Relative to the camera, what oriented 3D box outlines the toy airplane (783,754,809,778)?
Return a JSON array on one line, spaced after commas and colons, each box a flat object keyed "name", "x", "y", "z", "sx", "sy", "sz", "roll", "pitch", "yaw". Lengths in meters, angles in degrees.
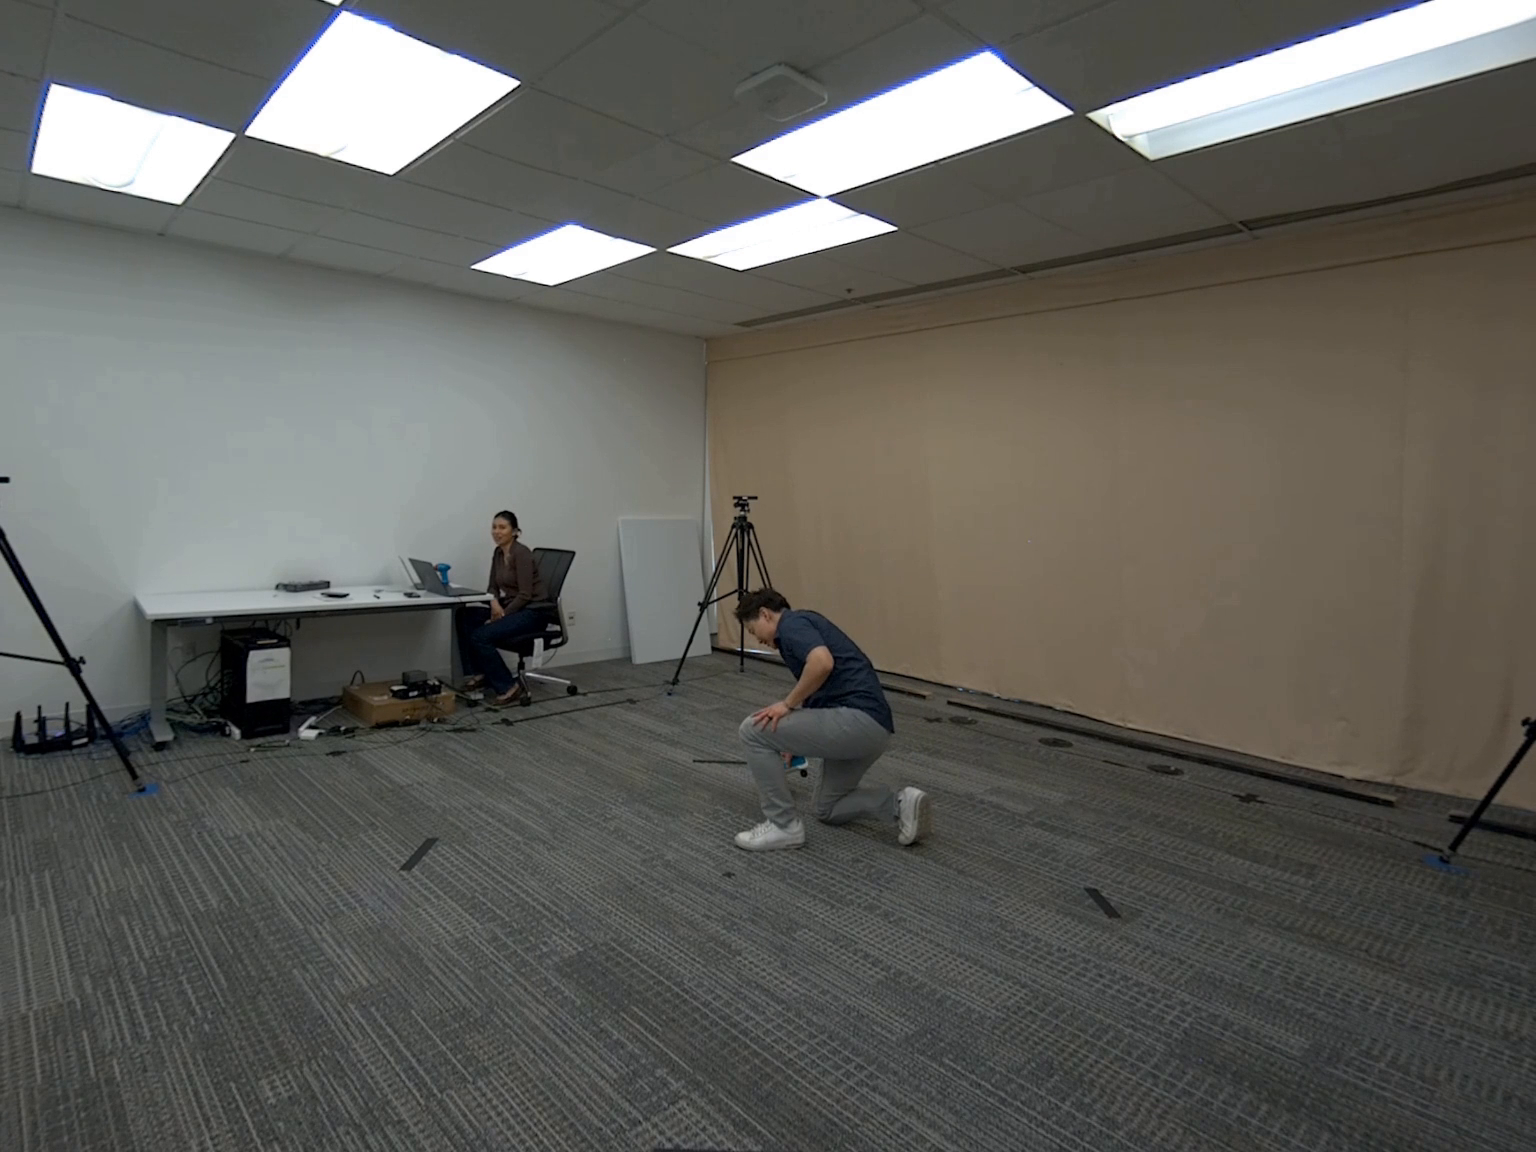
[{"name": "toy airplane", "x": 0.053, "y": 0.930, "z": 4.024, "sx": 0.257, "sy": 0.156, "sz": 0.254, "roll": -29, "pitch": 5, "yaw": -27}]
